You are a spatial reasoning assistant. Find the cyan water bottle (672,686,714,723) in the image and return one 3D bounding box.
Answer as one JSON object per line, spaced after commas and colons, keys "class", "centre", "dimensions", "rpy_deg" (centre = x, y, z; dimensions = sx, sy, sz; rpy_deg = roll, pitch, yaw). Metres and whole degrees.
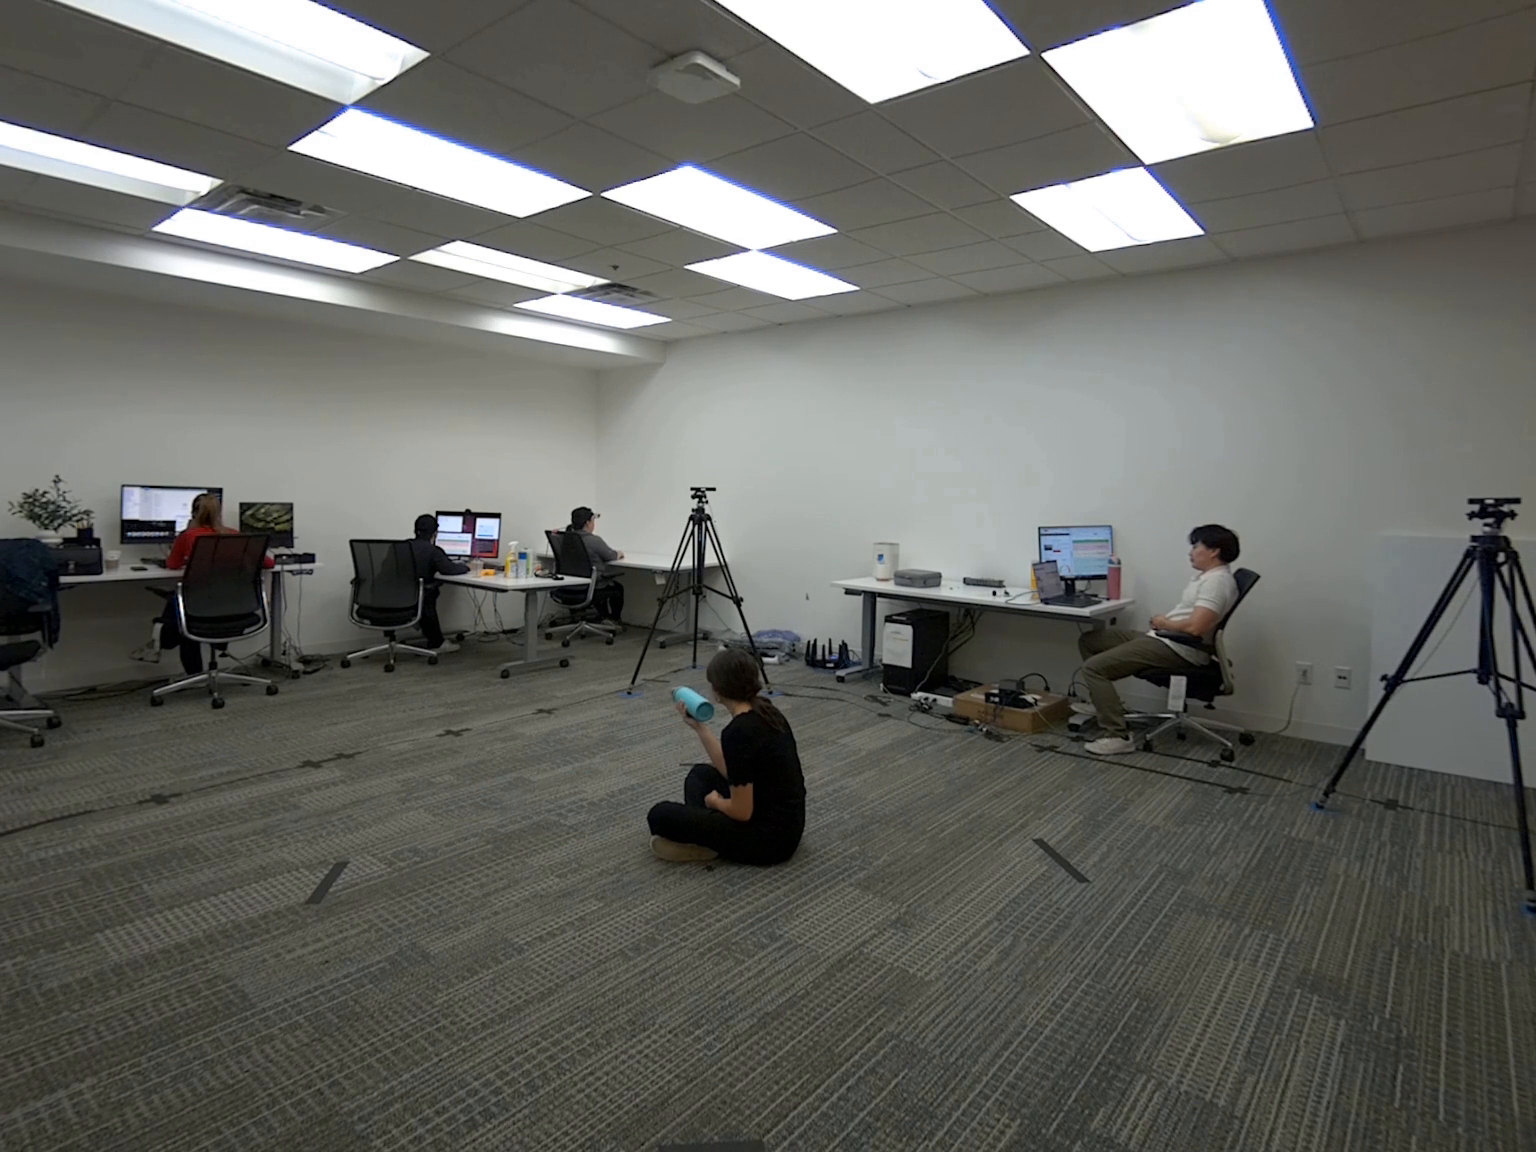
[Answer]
{"class": "cyan water bottle", "centre": [-0.338, 0.533, 3.625], "dimensions": [0.090, 0.092, 0.292], "rpy_deg": [-1, 8, -29]}
